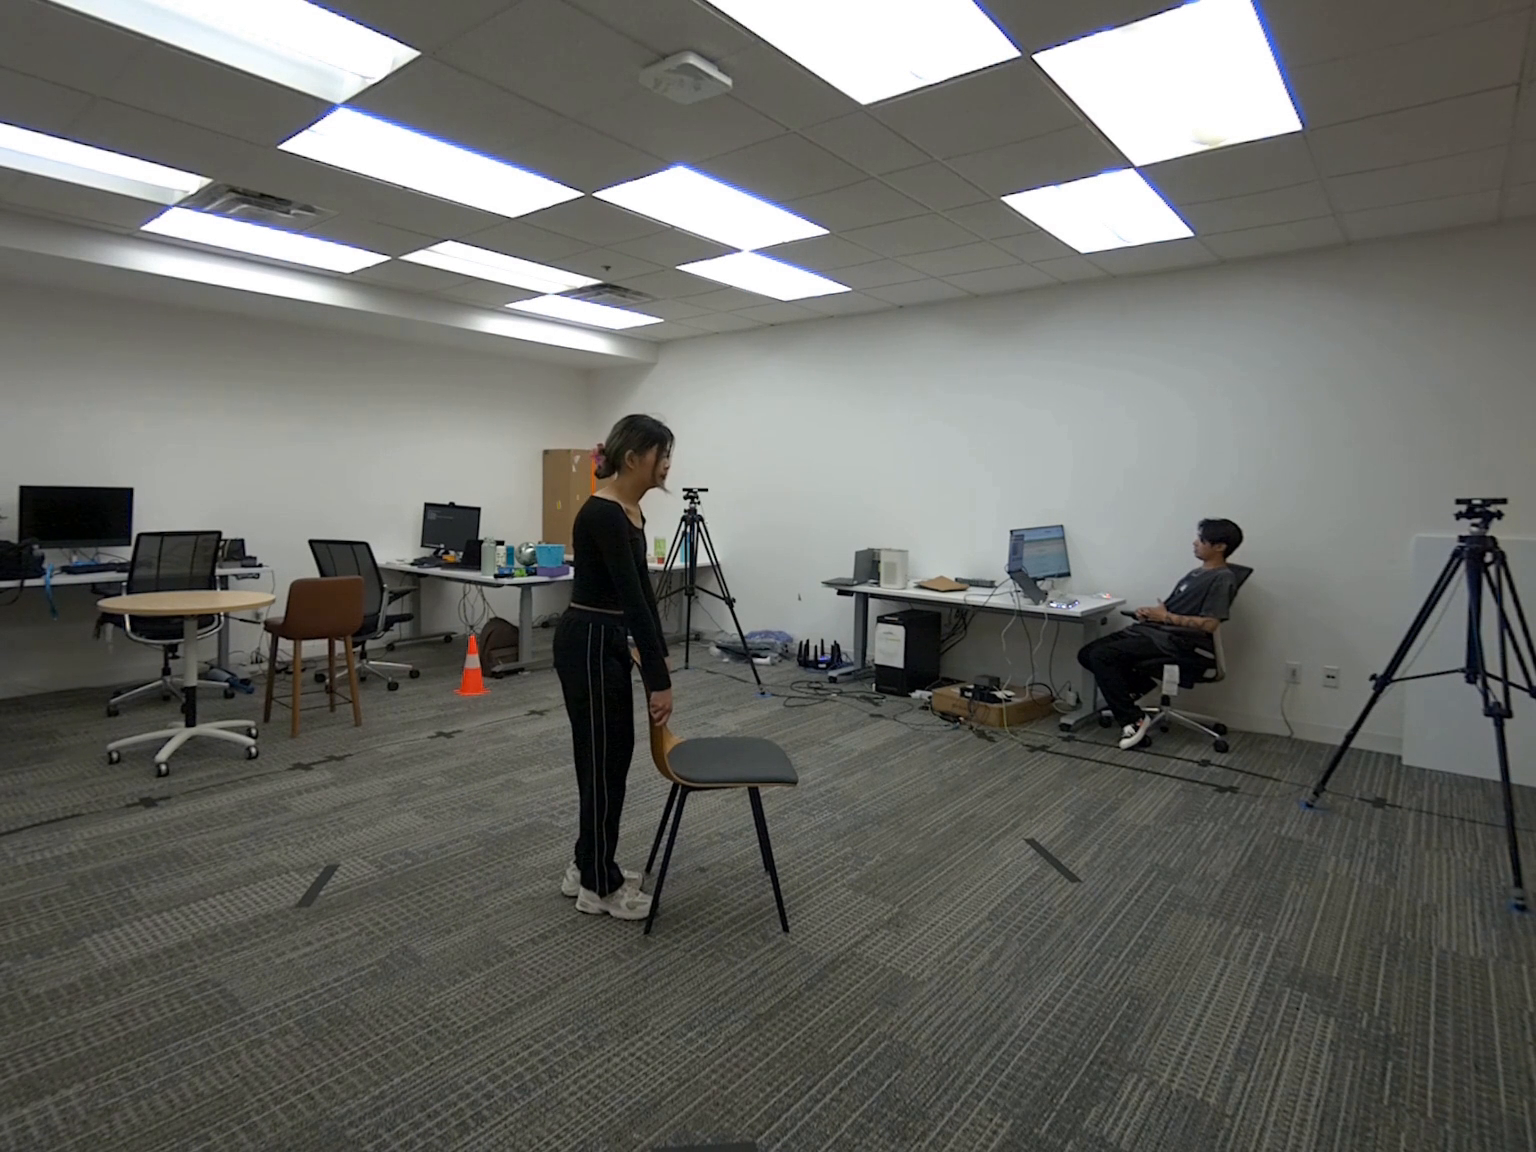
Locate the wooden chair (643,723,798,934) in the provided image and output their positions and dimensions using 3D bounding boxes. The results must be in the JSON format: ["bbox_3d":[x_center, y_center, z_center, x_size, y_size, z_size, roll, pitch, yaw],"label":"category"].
[{"bbox_3d":[-0.178,0.670,2.852,0.520,0.875,0.482,-4,3,-6],"label":"wooden chair"}]
